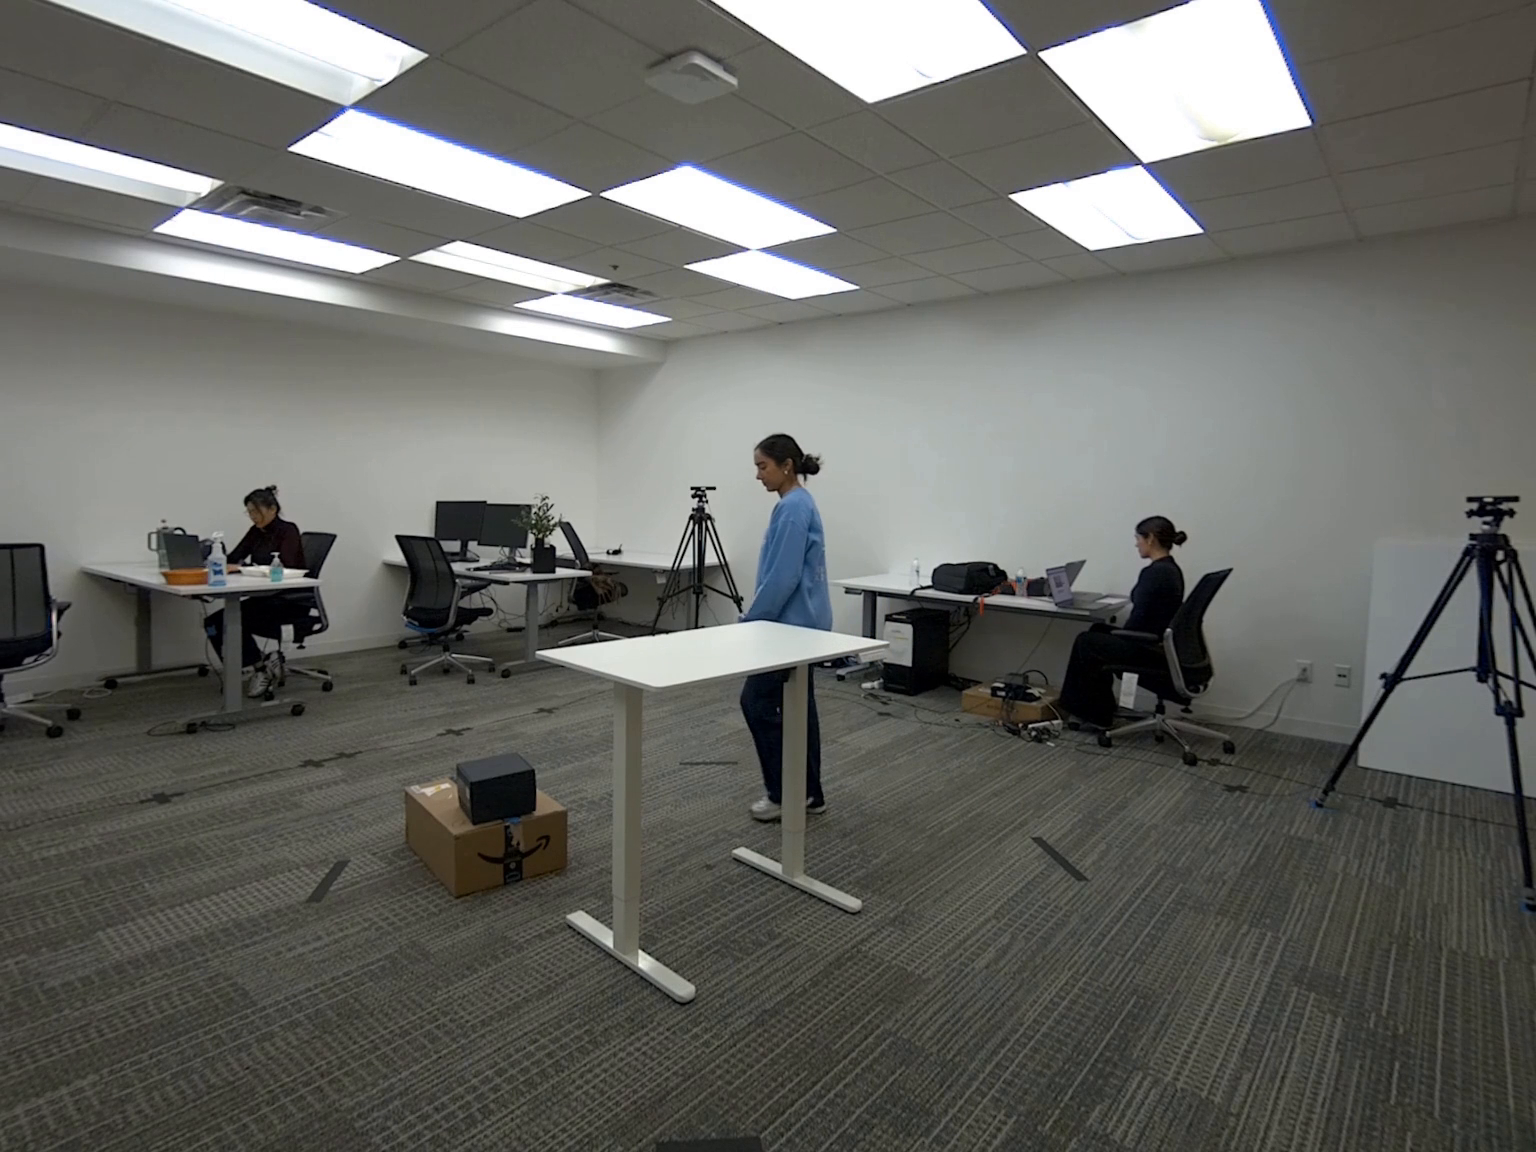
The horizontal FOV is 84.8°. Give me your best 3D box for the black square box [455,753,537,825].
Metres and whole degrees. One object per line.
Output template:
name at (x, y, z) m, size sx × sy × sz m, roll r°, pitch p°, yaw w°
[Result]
black square box at (-0.988, 0.752, 3.060) m, size 0.222 × 0.155 × 0.224 m, roll -5°, pitch 8°, yaw -30°
